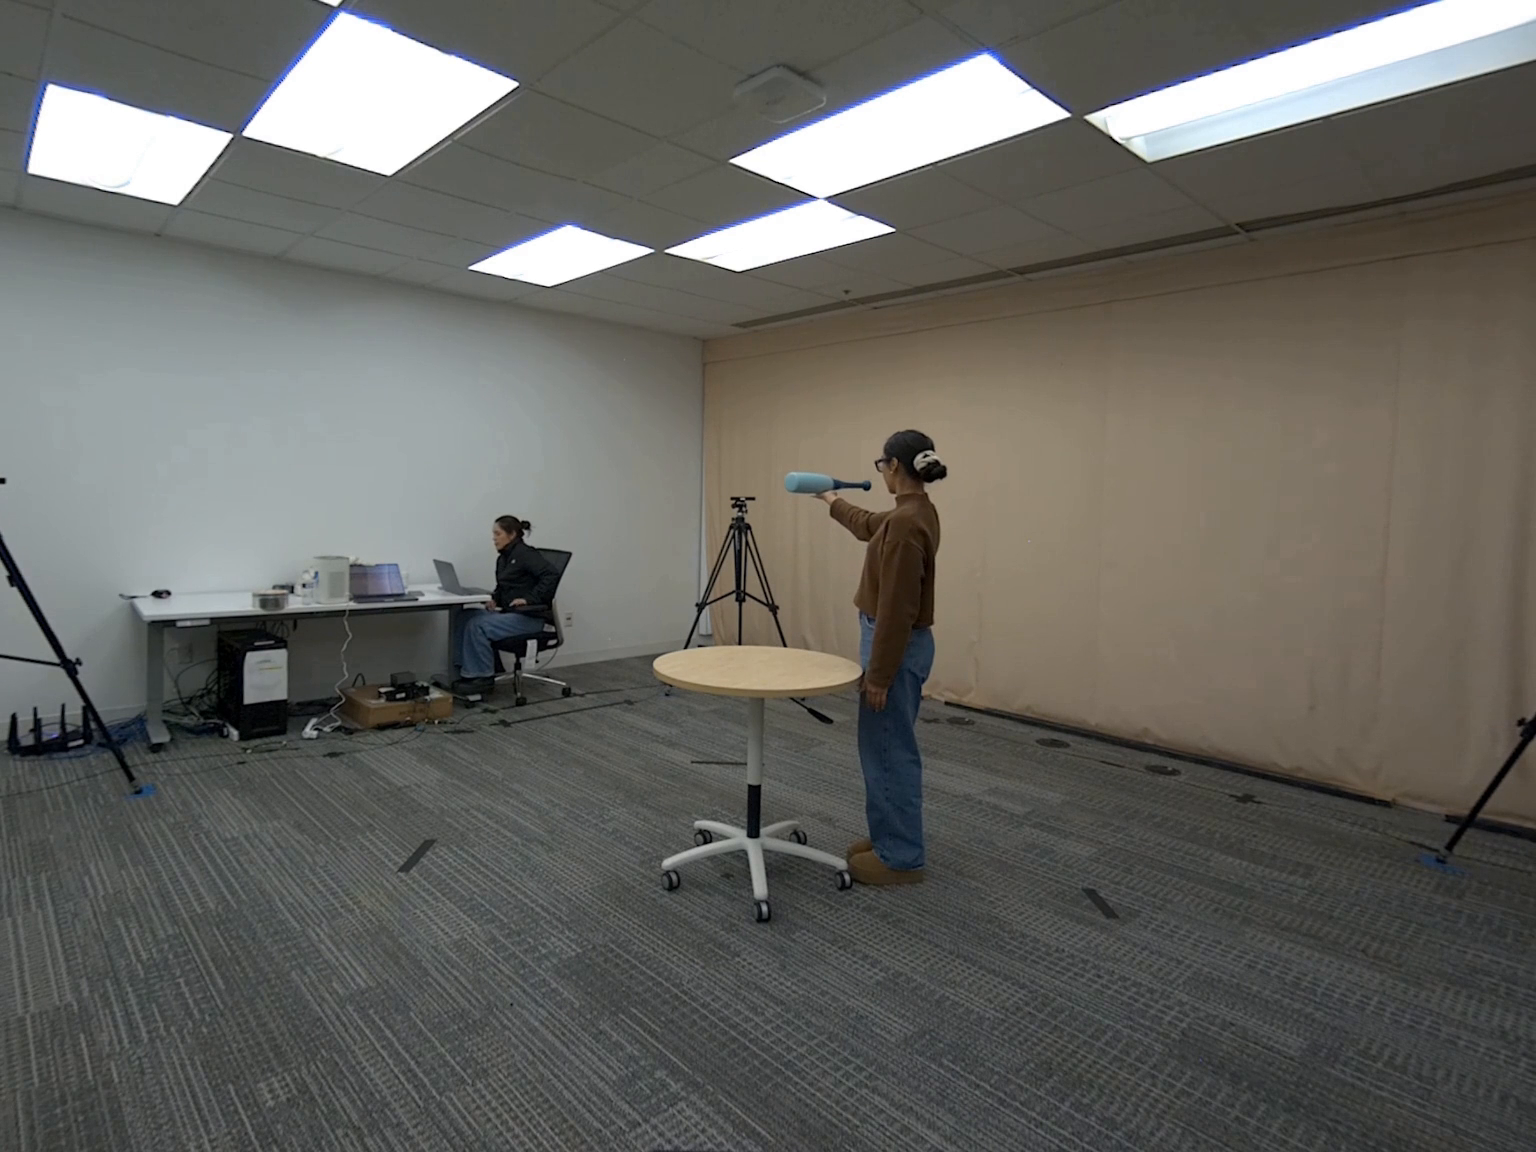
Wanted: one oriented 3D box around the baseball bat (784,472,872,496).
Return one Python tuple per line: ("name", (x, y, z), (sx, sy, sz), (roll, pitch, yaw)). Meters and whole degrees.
("baseball bat", (0.269, -0.406, 3.733), (0.091, 0.089, 0.530), (5, 6, 44))
